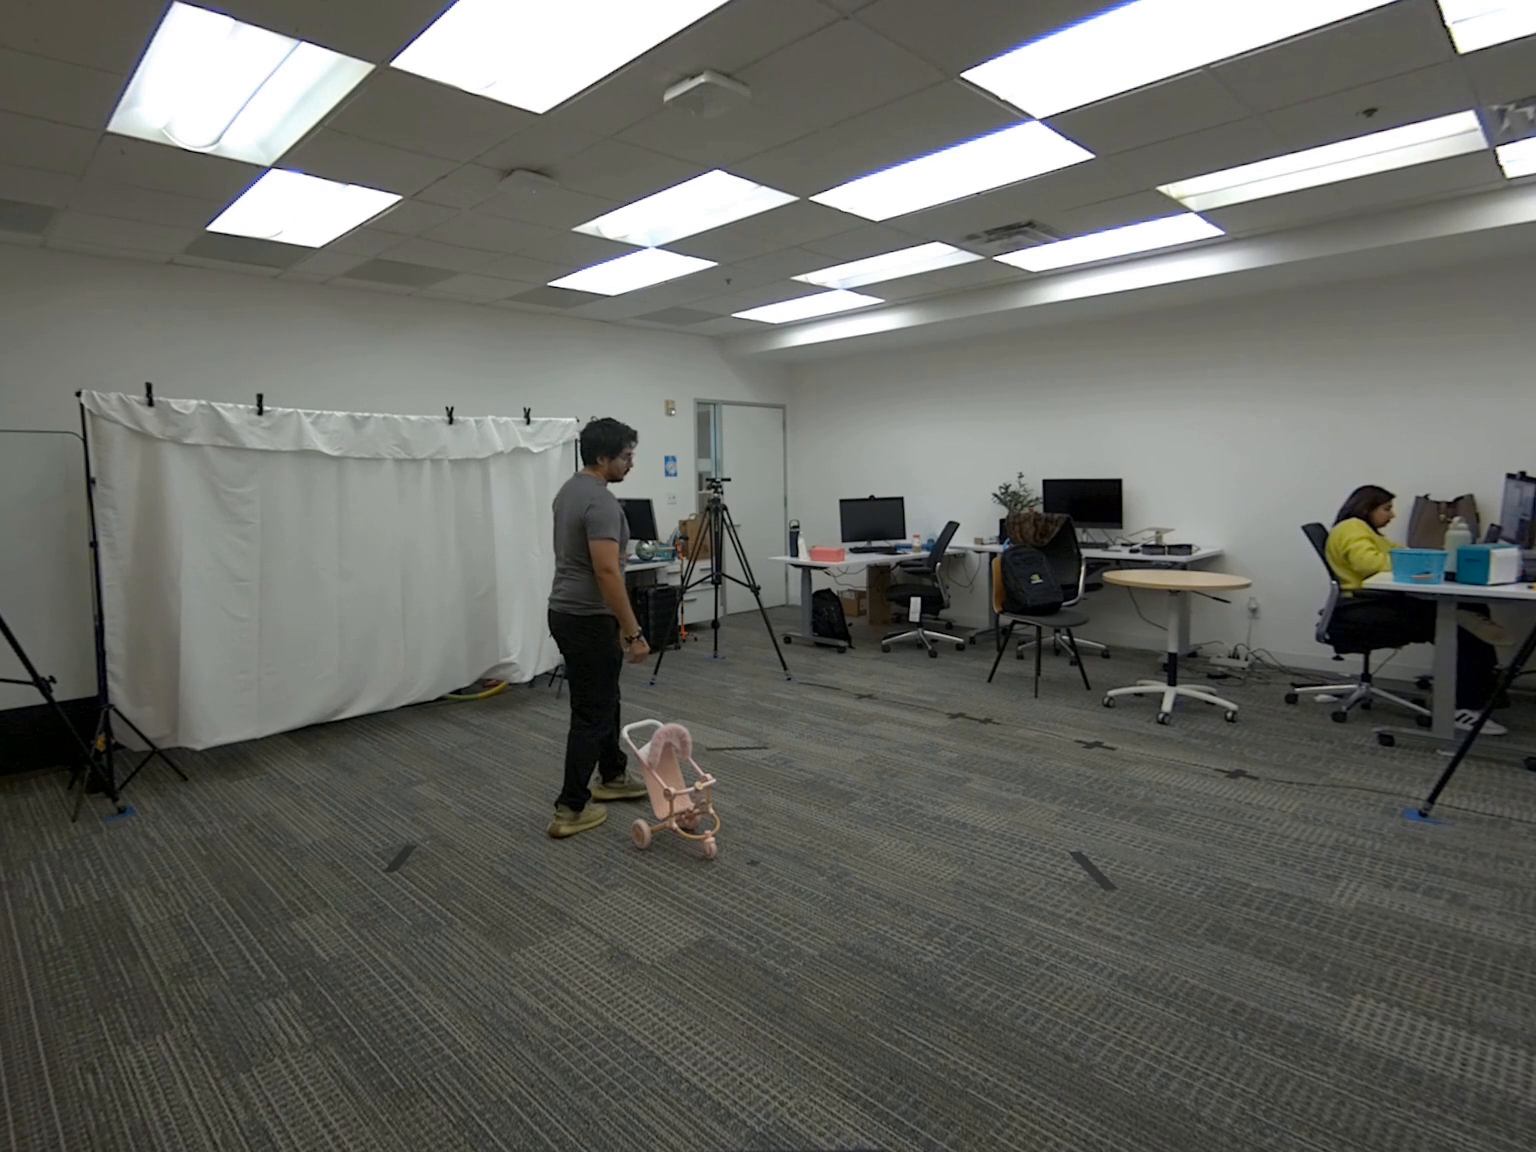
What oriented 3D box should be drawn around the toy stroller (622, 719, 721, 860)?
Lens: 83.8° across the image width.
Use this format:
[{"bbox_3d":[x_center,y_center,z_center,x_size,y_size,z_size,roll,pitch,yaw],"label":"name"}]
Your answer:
[{"bbox_3d":[-0.356,0.803,3.268,0.274,0.540,0.347,-5,-11,-41],"label":"toy stroller"}]
